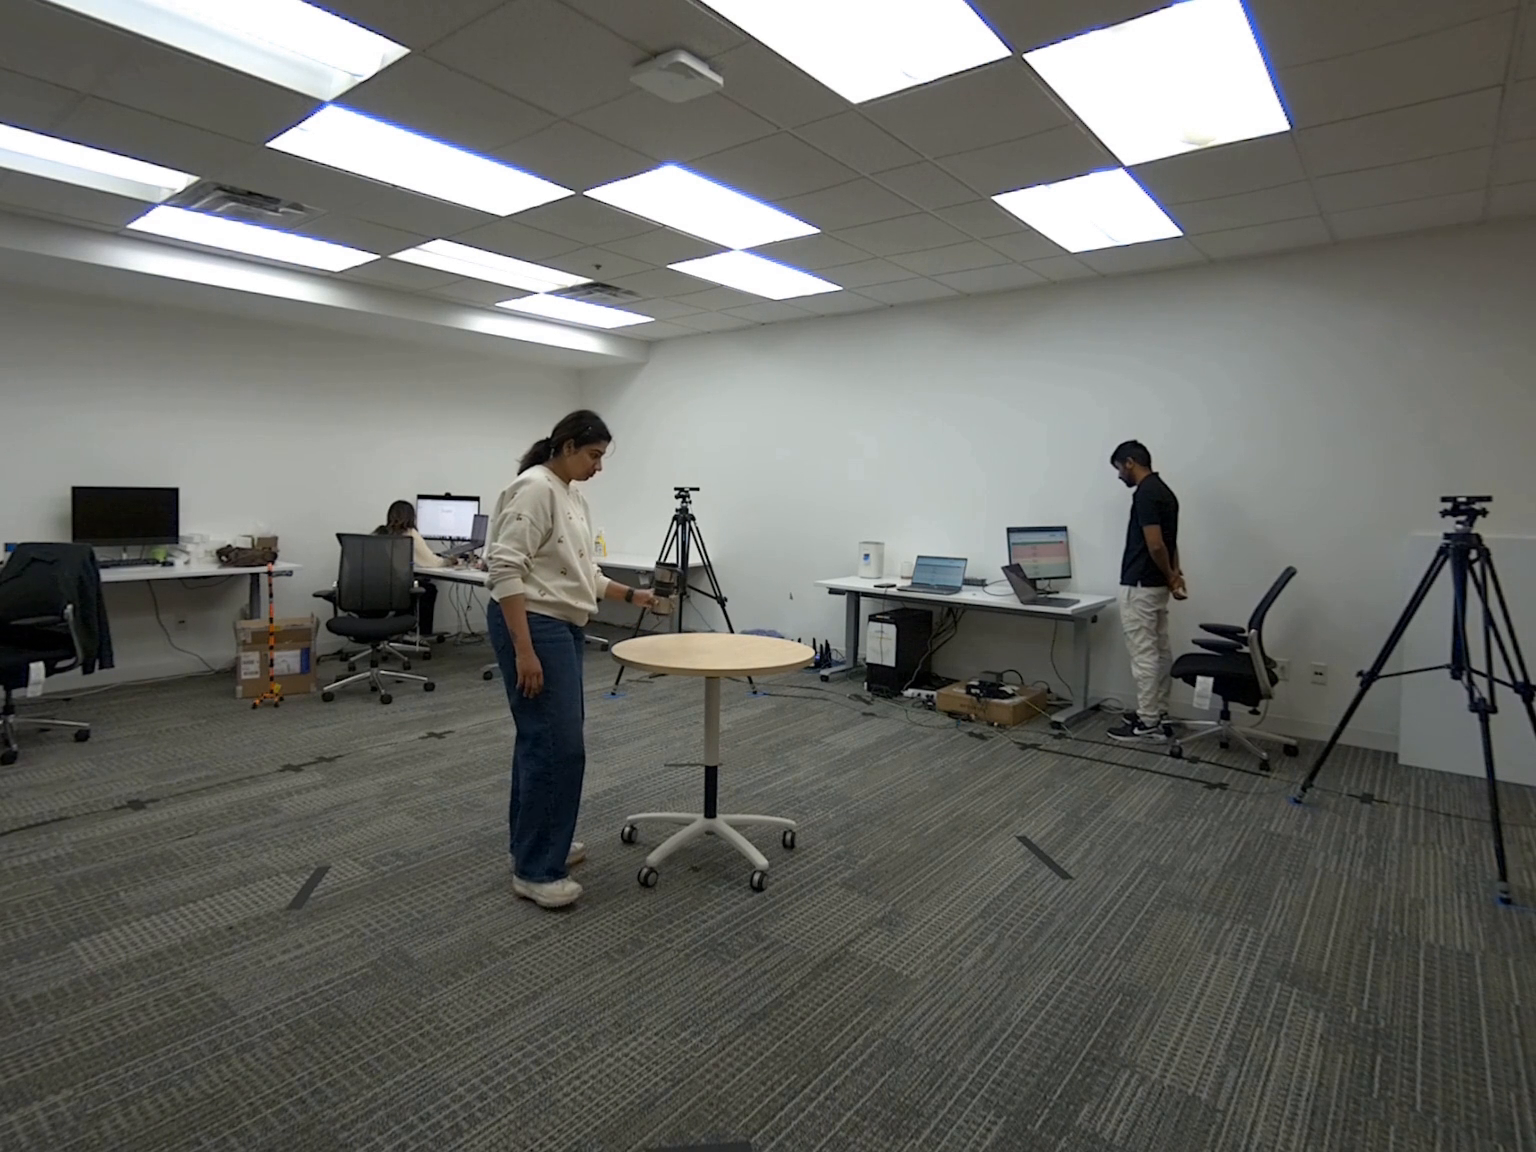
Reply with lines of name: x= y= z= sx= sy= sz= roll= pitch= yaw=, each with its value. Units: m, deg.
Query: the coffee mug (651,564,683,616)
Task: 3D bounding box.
coffee mug: x=-0.397 y=0.052 z=3.188 sx=0.085 sy=0.203 sz=0.126 roll=6 pitch=2 yaw=-38
